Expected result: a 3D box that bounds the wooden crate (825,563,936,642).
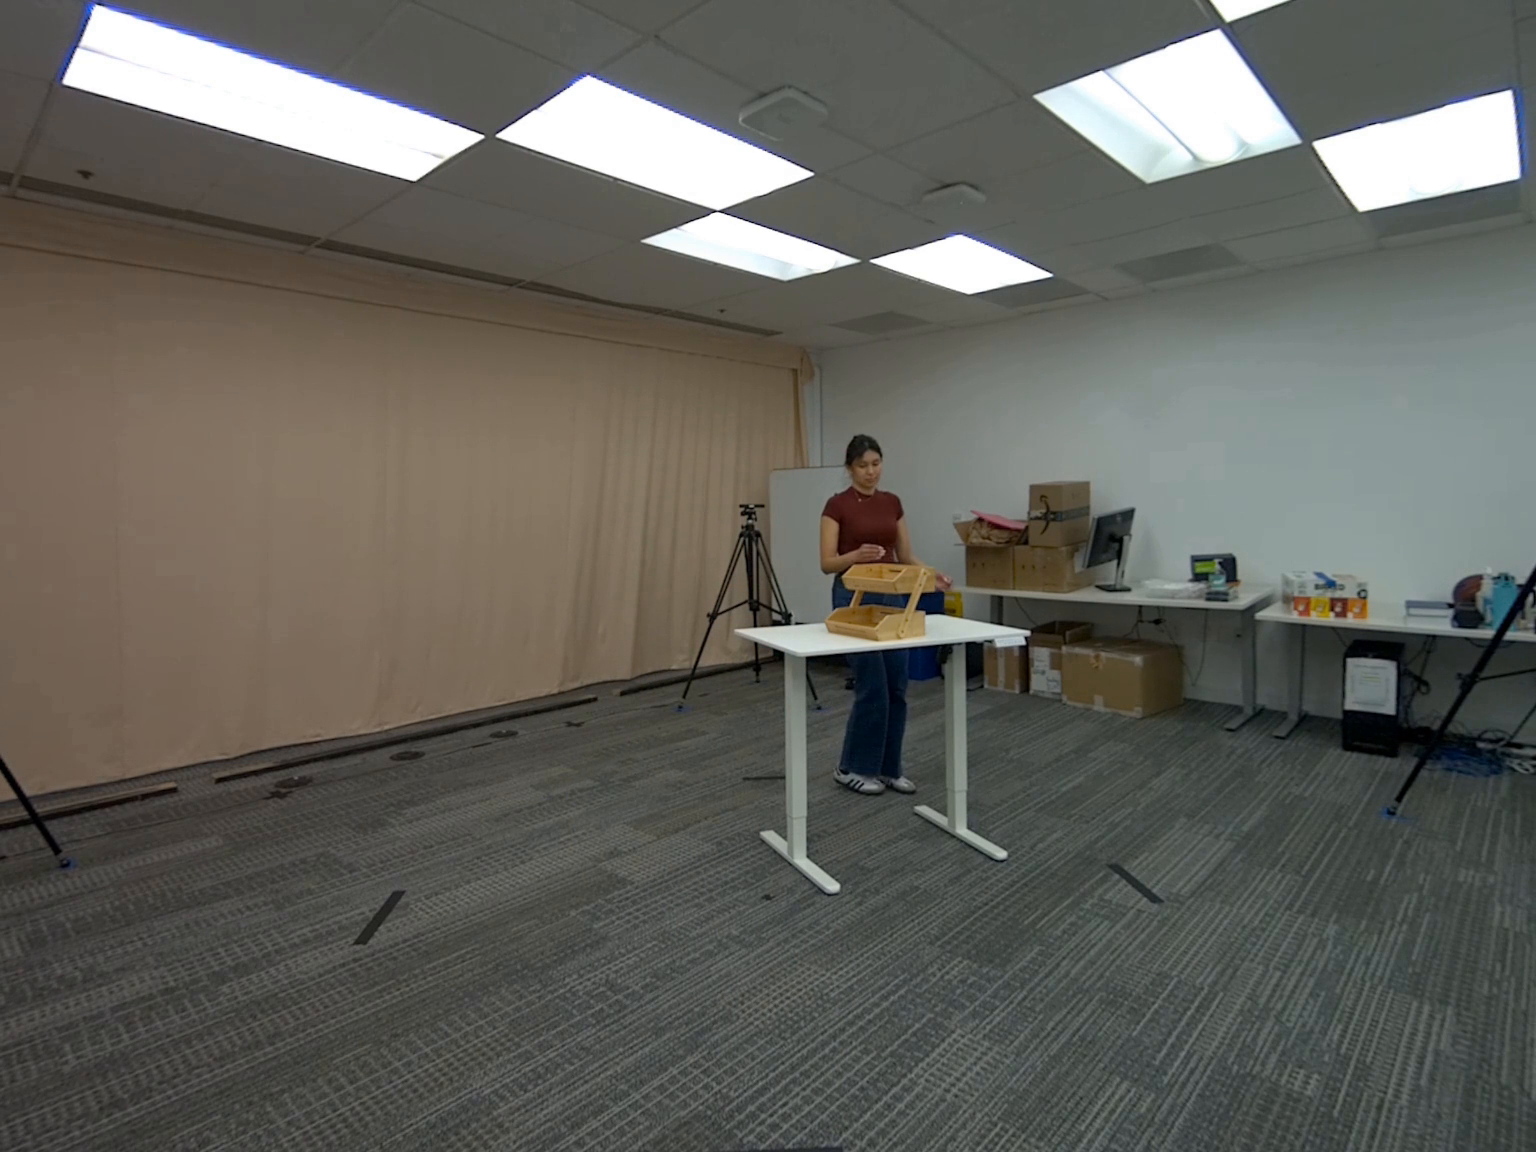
[{"bbox_3d":[0.434,0.093,3.276,0.293,0.273,0.334,-3,4,-33],"label":"wooden crate"}]
